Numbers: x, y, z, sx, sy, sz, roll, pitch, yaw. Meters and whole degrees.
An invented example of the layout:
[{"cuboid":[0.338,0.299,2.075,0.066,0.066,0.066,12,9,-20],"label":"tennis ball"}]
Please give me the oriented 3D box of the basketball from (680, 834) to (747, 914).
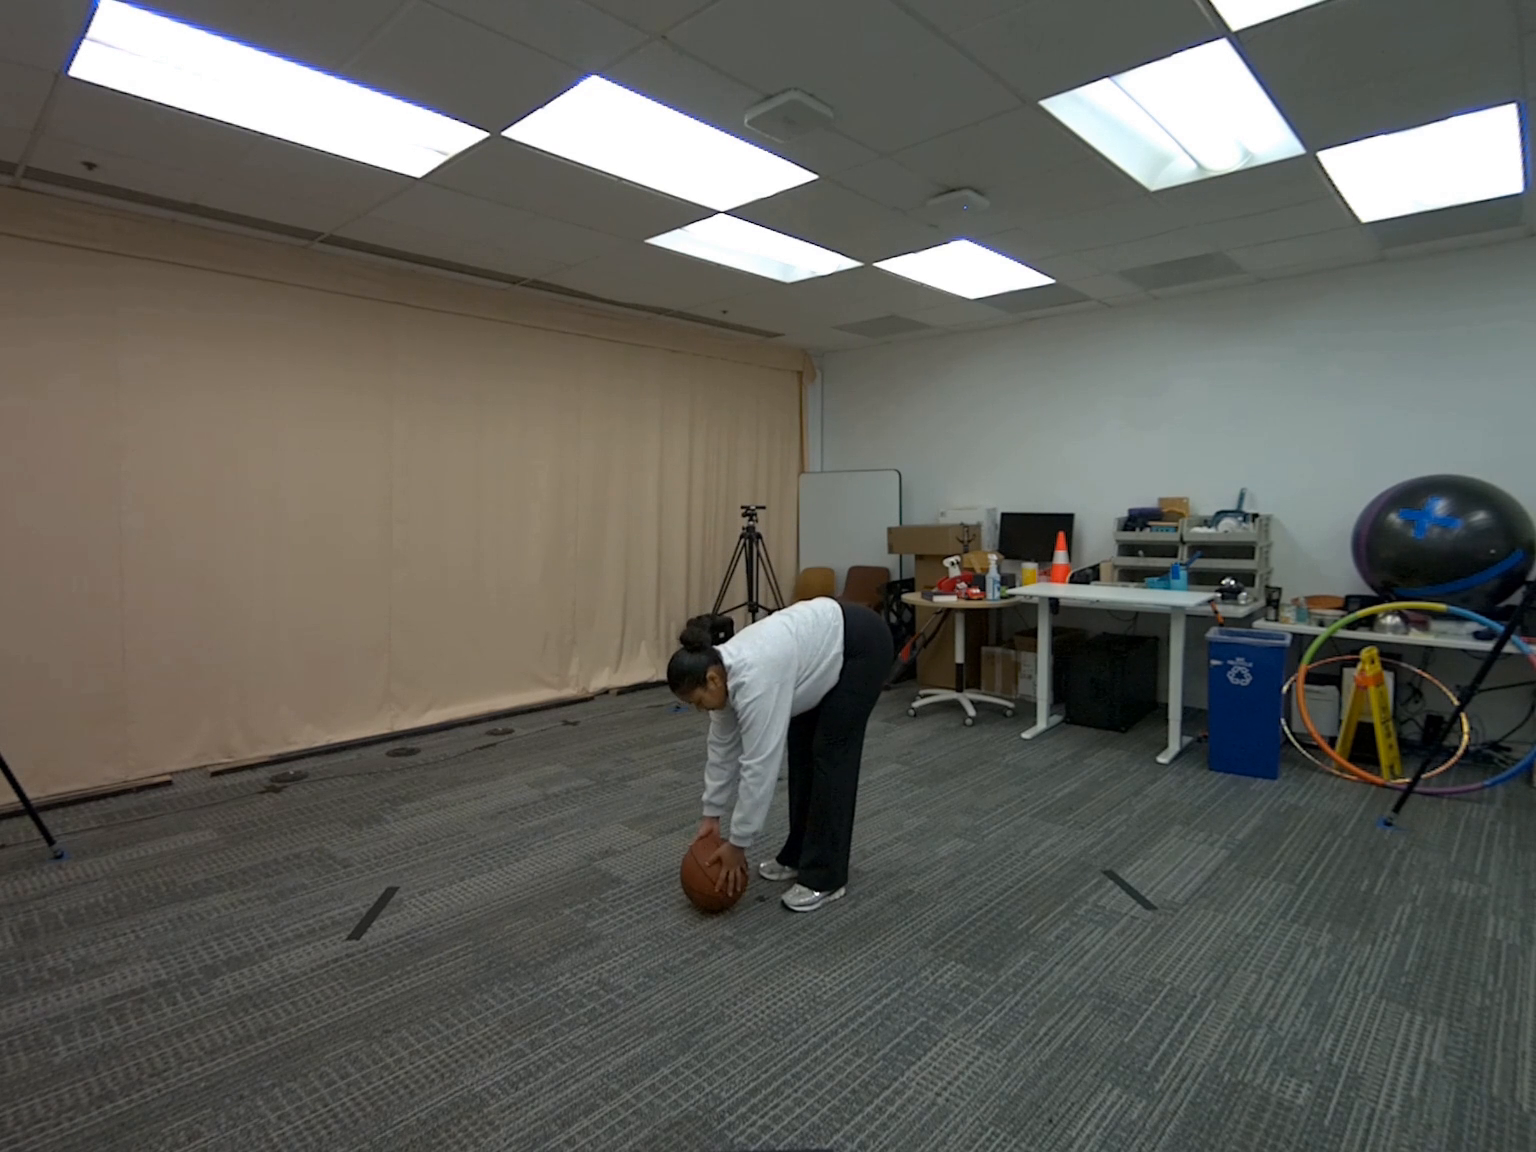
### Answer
[{"cuboid":[-0.176,1.012,2.922,0.236,0.235,0.237,0,4,-2],"label":"basketball"}]
